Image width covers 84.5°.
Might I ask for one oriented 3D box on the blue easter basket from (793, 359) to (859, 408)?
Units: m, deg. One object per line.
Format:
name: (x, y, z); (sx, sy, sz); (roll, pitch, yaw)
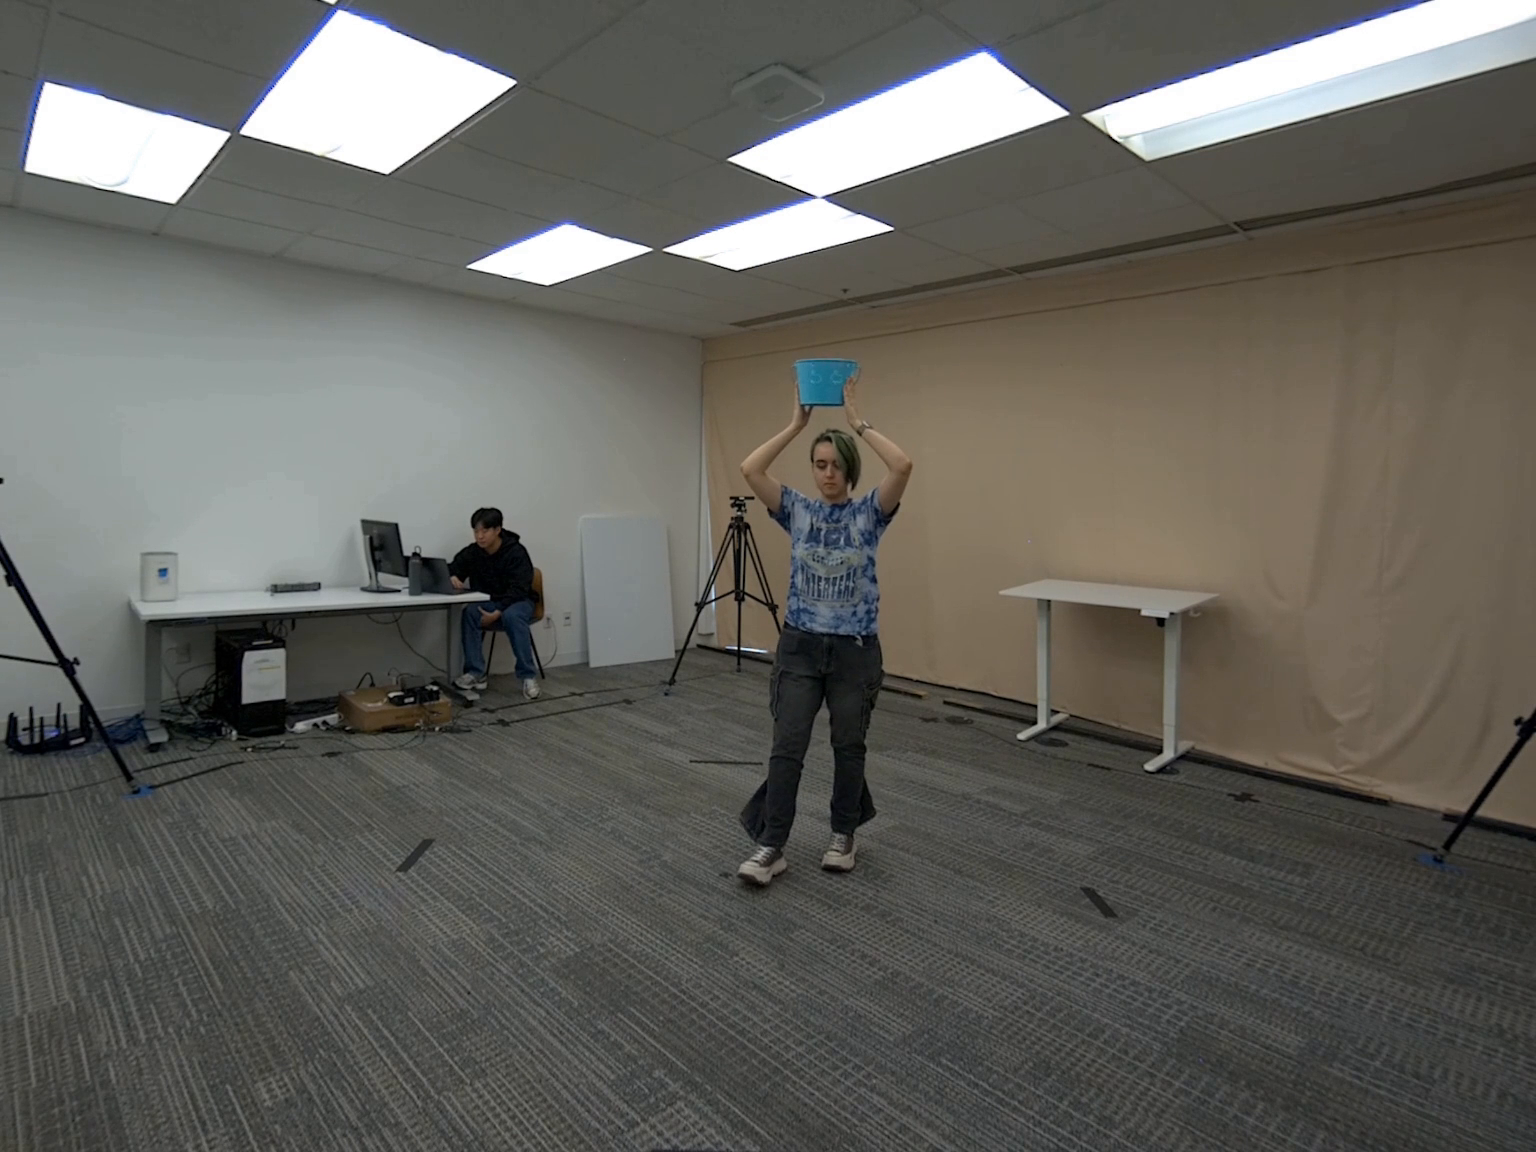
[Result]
blue easter basket: (0.215, -0.701, 3.052); (0.243, 0.155, 0.245); (1, 7, -1)
